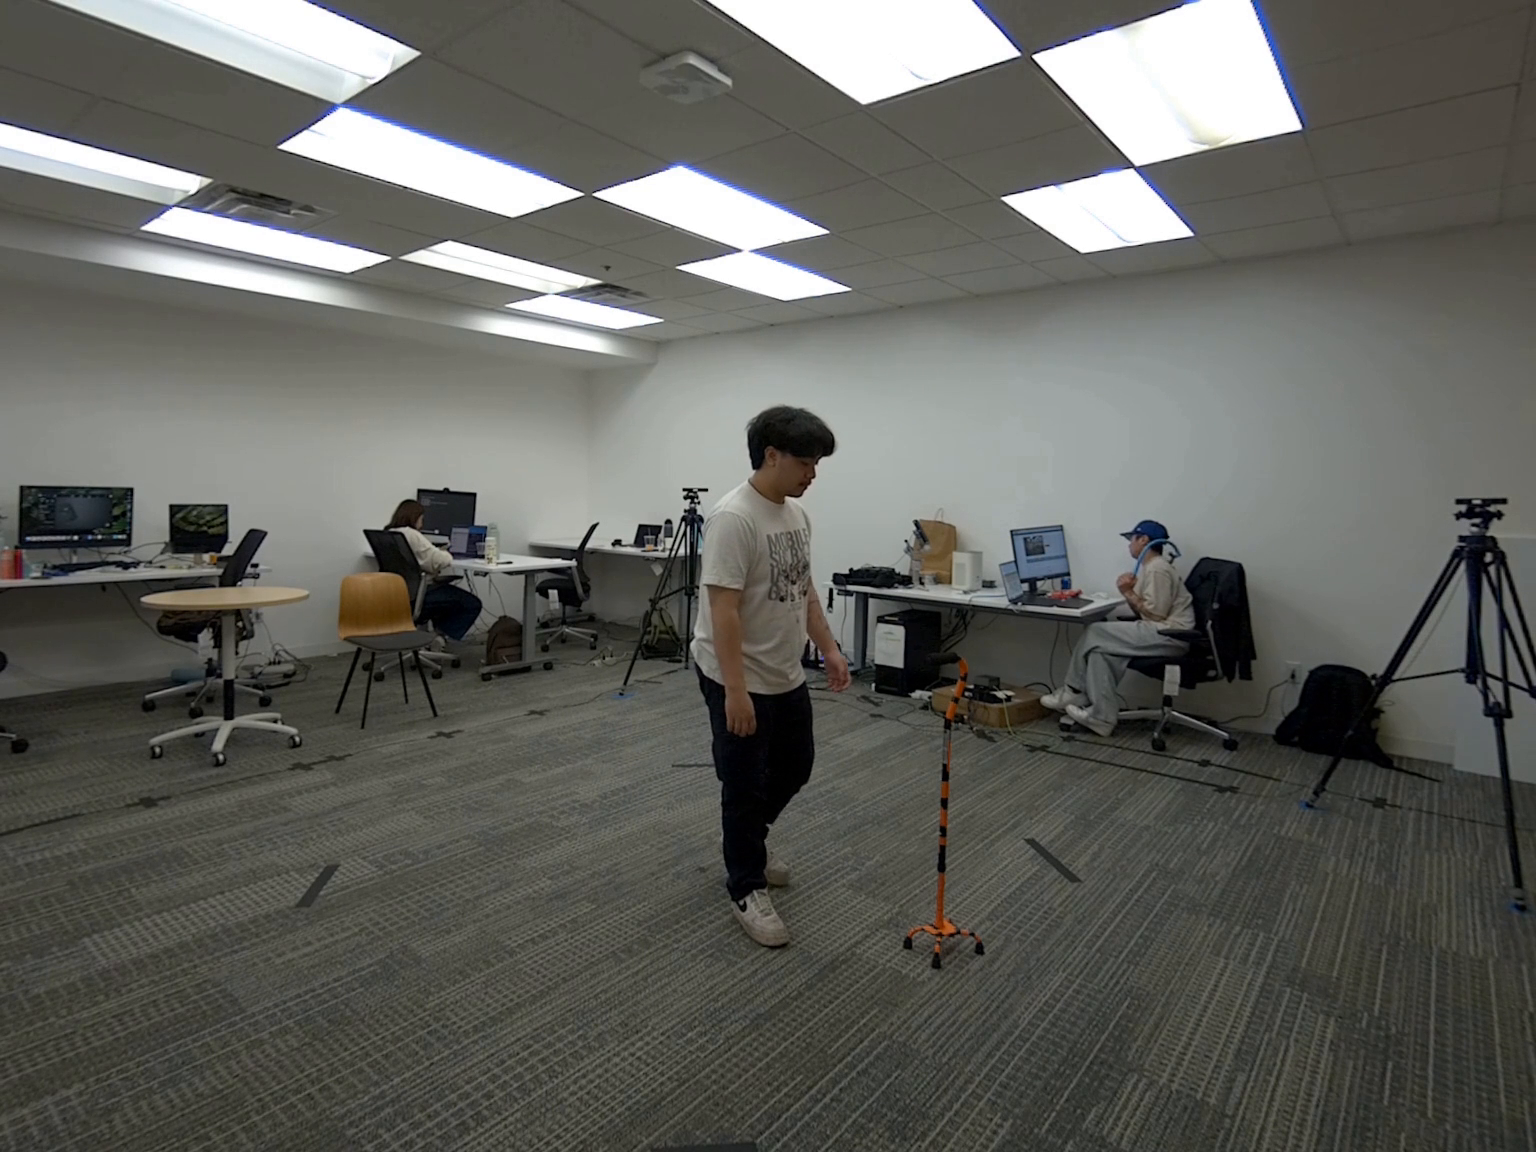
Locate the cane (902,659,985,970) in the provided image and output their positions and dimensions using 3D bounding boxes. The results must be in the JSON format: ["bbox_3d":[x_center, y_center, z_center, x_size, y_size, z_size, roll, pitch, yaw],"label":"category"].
[{"bbox_3d":[0.550,0.692,2.575,0.200,0.906,0.156,3,3,-31],"label":"cane"}]
